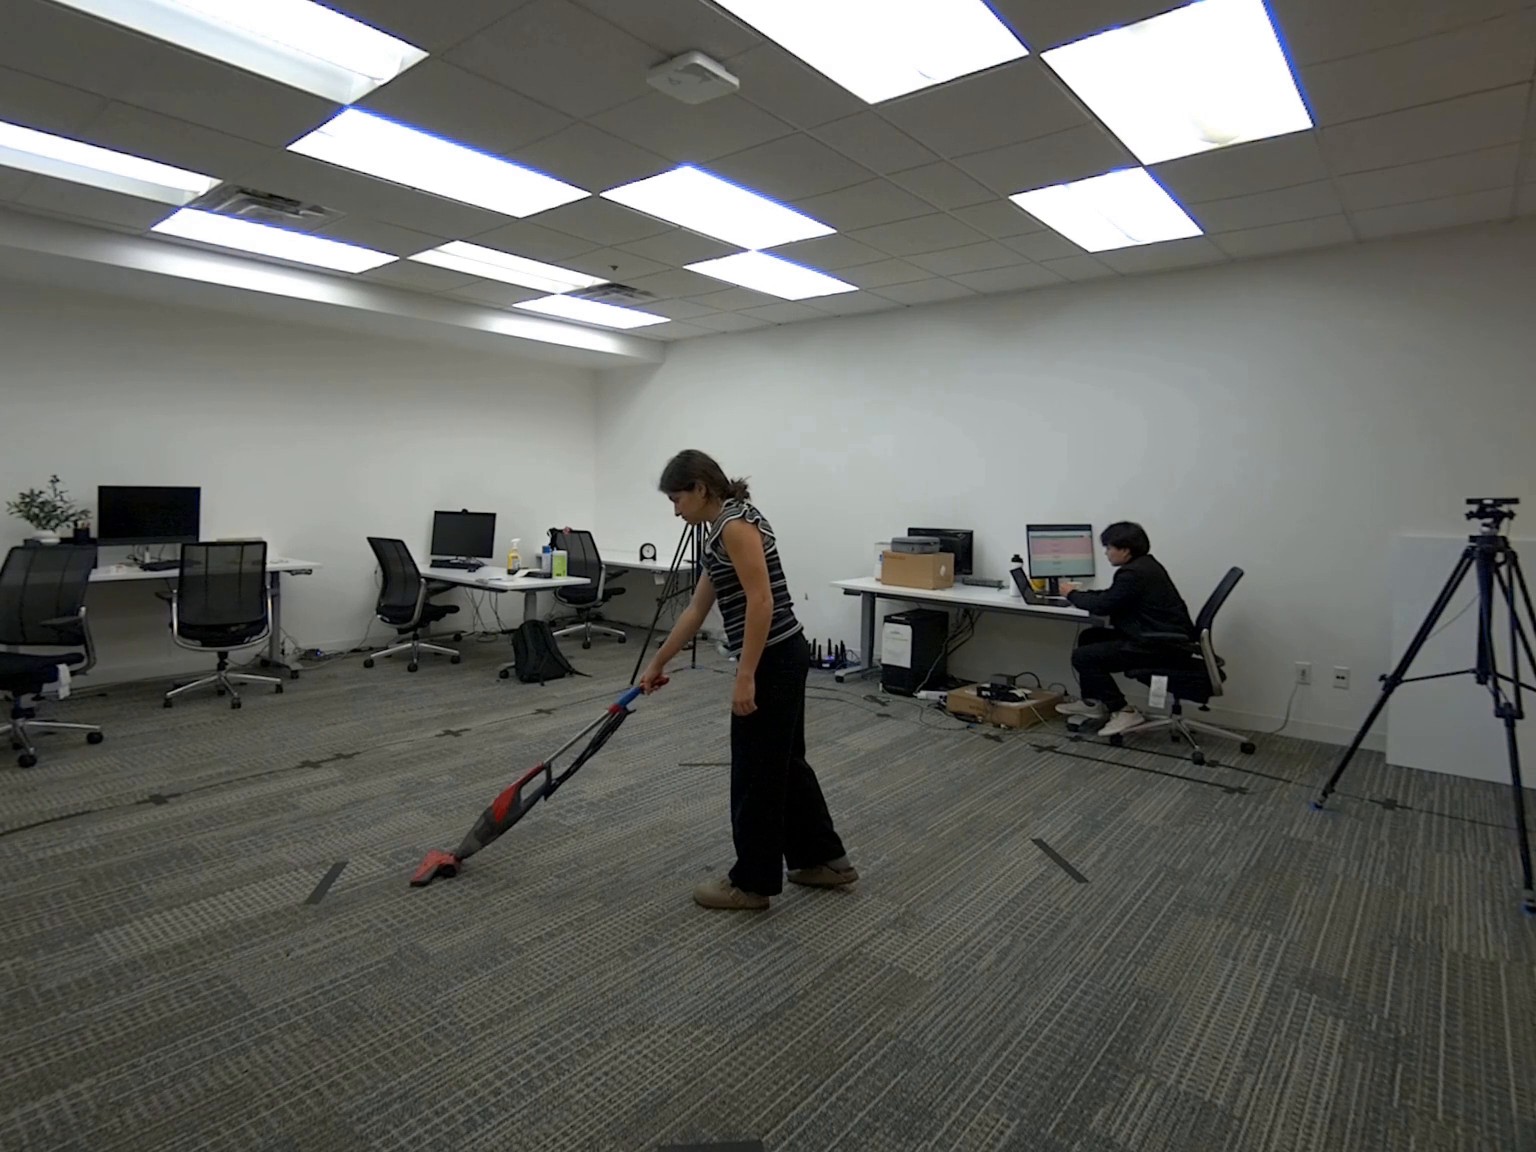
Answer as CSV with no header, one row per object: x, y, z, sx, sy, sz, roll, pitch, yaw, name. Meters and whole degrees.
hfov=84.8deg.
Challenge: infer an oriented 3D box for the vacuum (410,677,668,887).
-0.785,0.708,3.059,1.049,0.143,0.254,-39,6,0,vacuum
